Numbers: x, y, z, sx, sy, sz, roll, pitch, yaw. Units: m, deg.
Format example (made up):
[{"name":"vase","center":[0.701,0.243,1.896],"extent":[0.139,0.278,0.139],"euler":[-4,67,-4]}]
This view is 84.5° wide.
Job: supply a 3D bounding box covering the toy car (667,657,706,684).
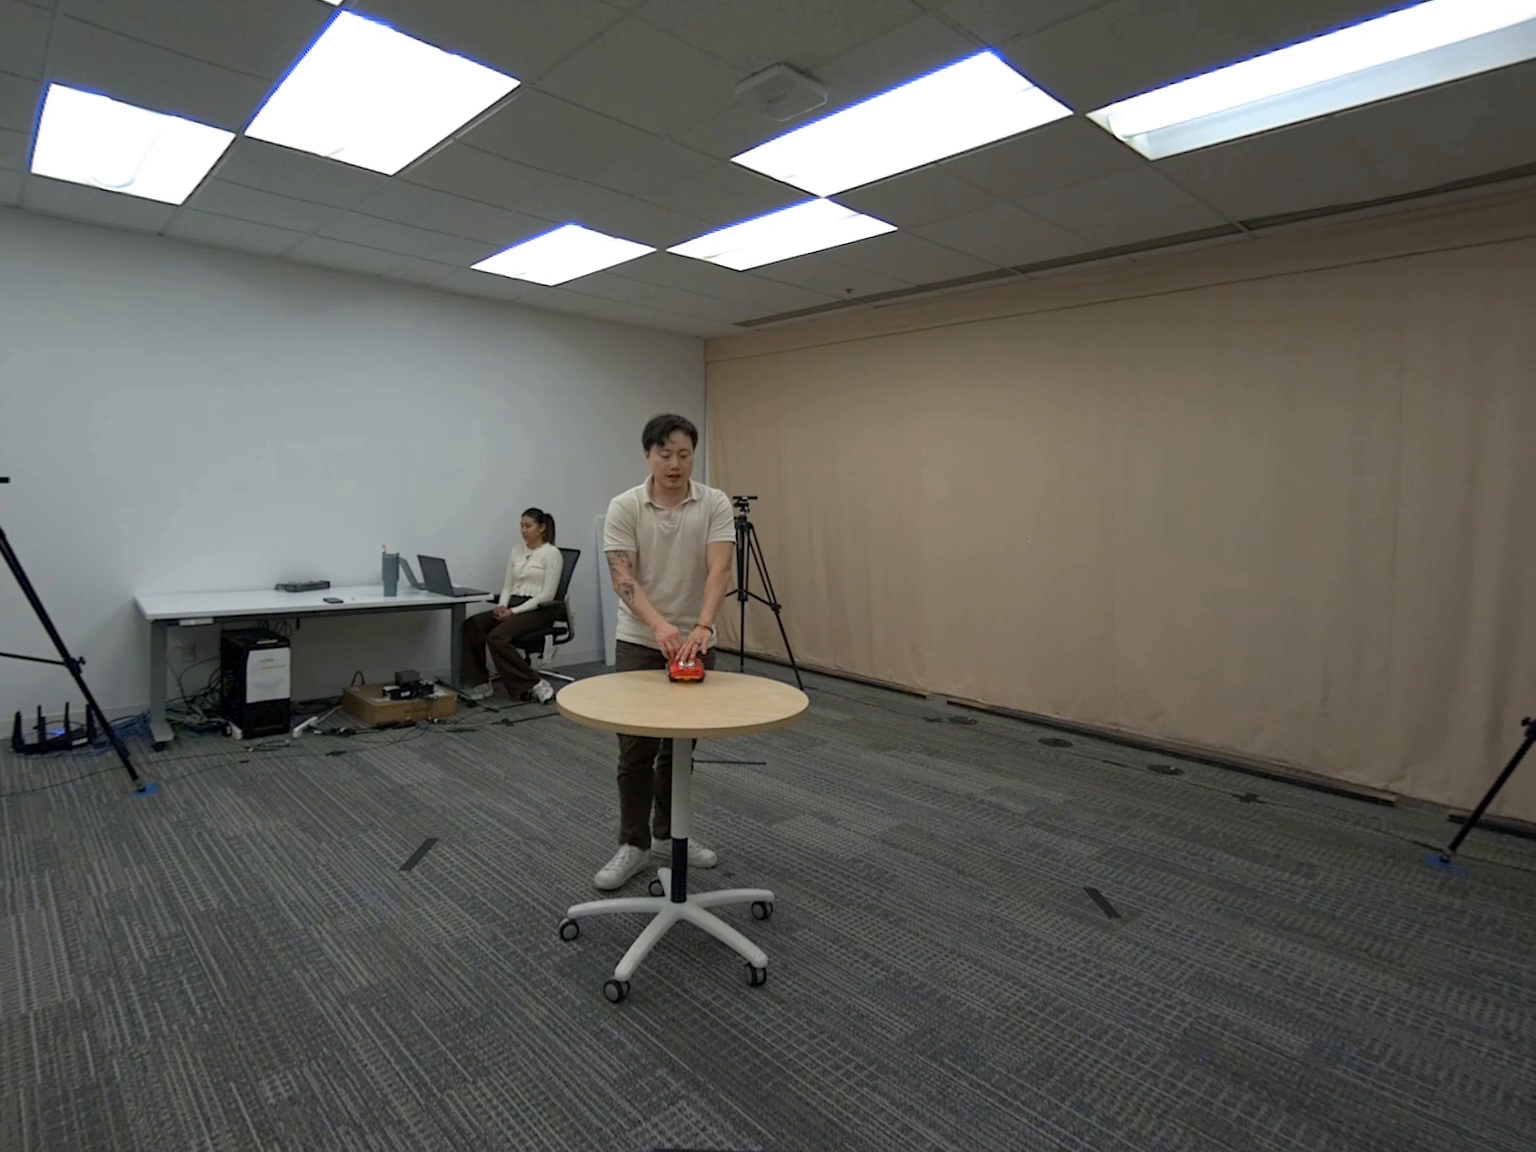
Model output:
[{"name":"toy car","center":[-0.292,0.316,2.810],"extent":[0.129,0.084,0.254],"euler":[0,-7,-8]}]
